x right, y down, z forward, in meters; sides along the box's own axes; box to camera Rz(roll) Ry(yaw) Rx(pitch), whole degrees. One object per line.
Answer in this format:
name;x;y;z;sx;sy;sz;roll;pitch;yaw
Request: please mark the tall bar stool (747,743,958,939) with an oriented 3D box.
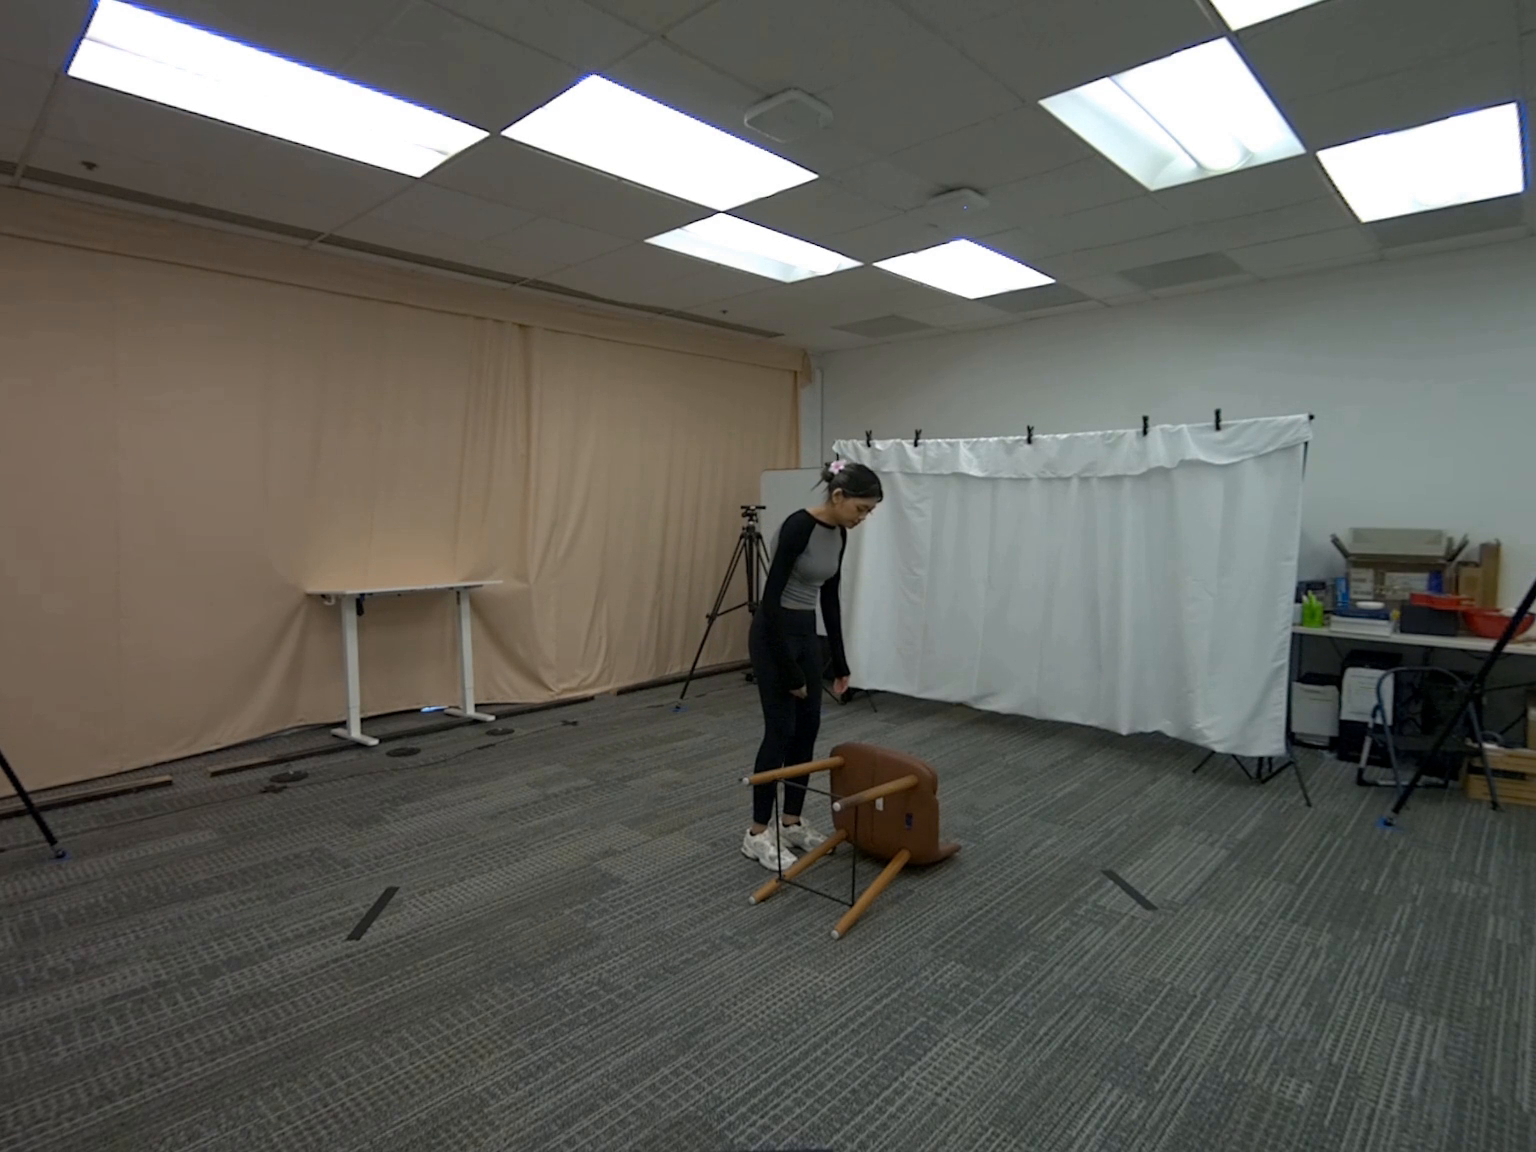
tall bar stool;0.353;0.901;3.122;0.471;0.466;0.863;3;5;40
